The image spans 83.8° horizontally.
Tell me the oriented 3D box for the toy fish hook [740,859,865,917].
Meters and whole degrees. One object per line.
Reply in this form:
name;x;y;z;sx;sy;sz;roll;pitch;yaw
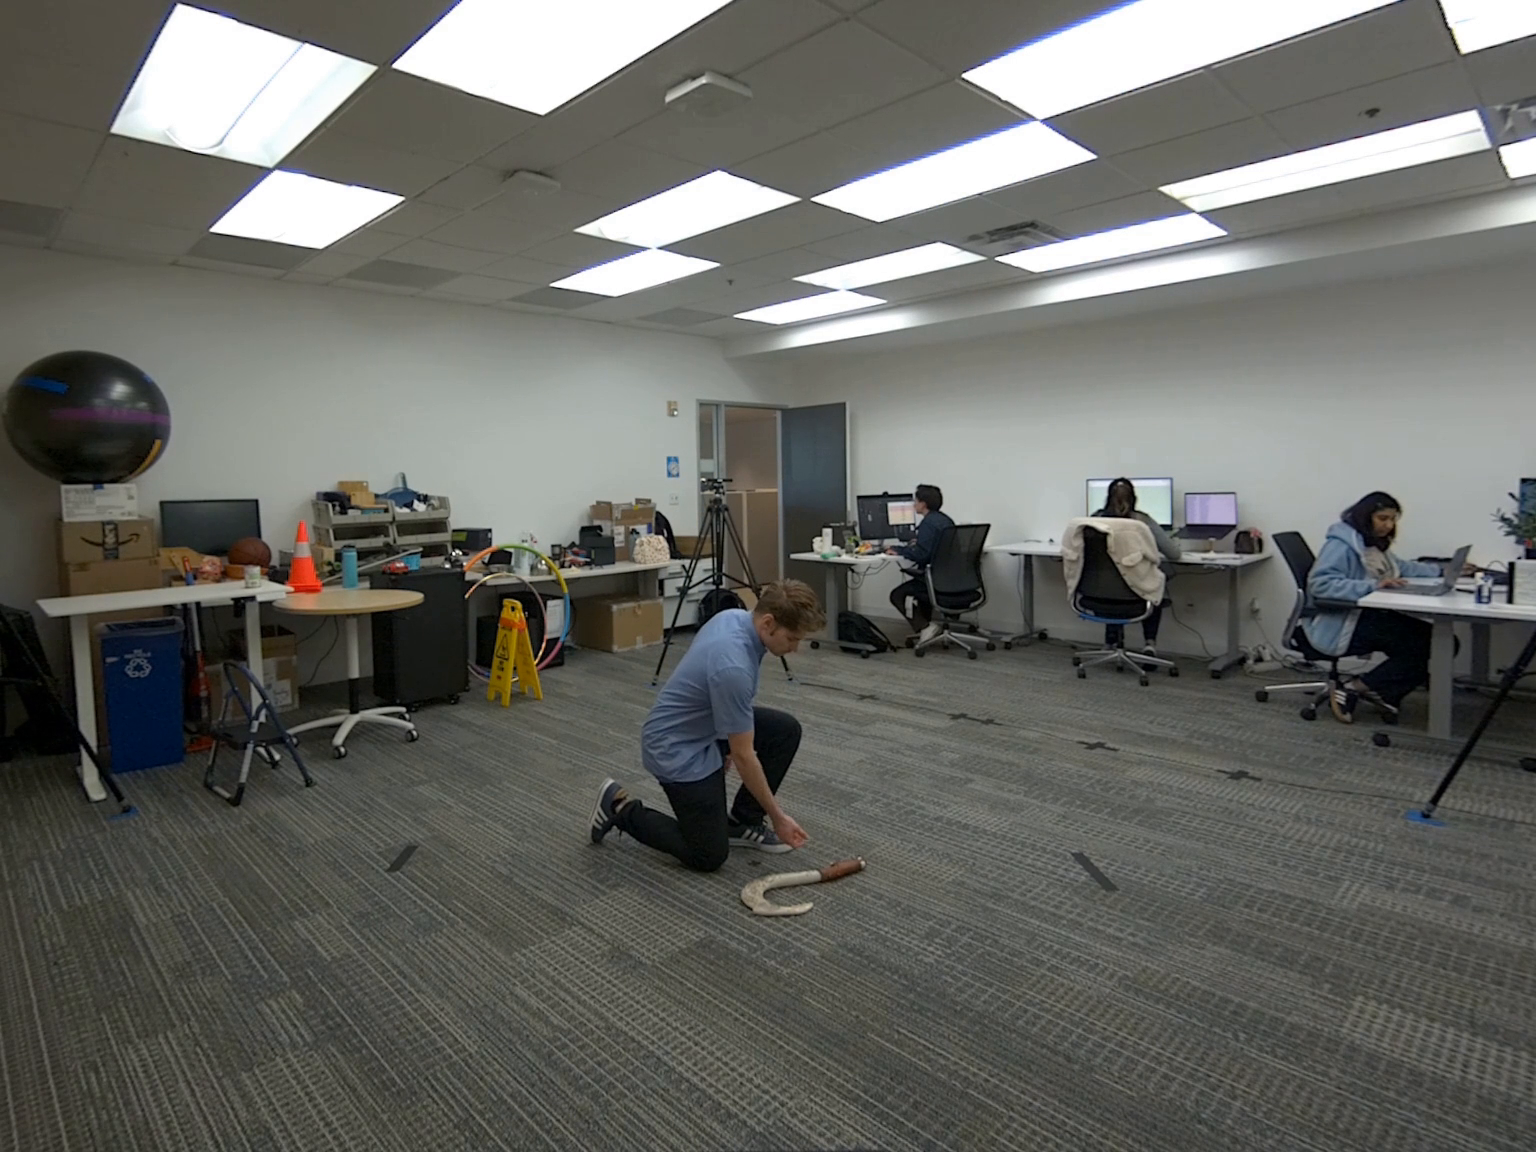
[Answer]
toy fish hook;0.158;1.050;2.886;0.495;0.048;0.232;-5;14;-28
